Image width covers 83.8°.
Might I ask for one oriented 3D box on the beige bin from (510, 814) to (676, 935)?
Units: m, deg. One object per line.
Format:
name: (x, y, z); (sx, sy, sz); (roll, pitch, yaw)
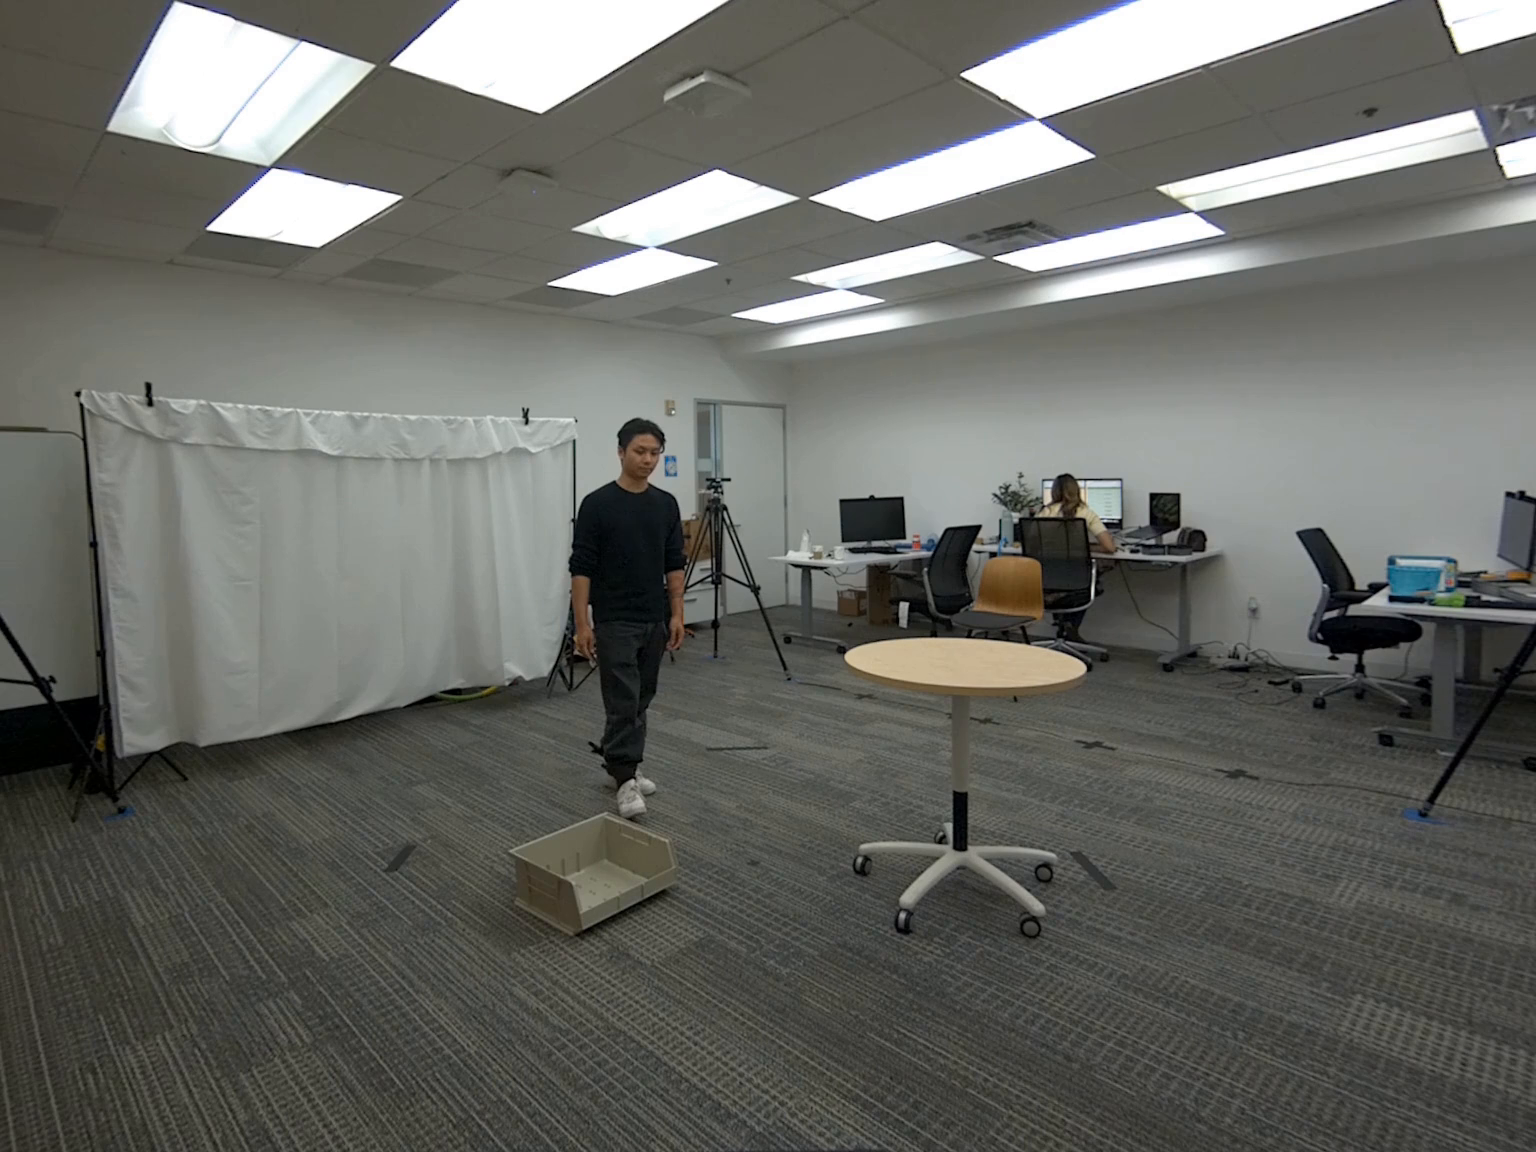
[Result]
beige bin: (-0.579, 0.992, 2.864); (0.389, 0.188, 0.412); (3, 8, 40)
